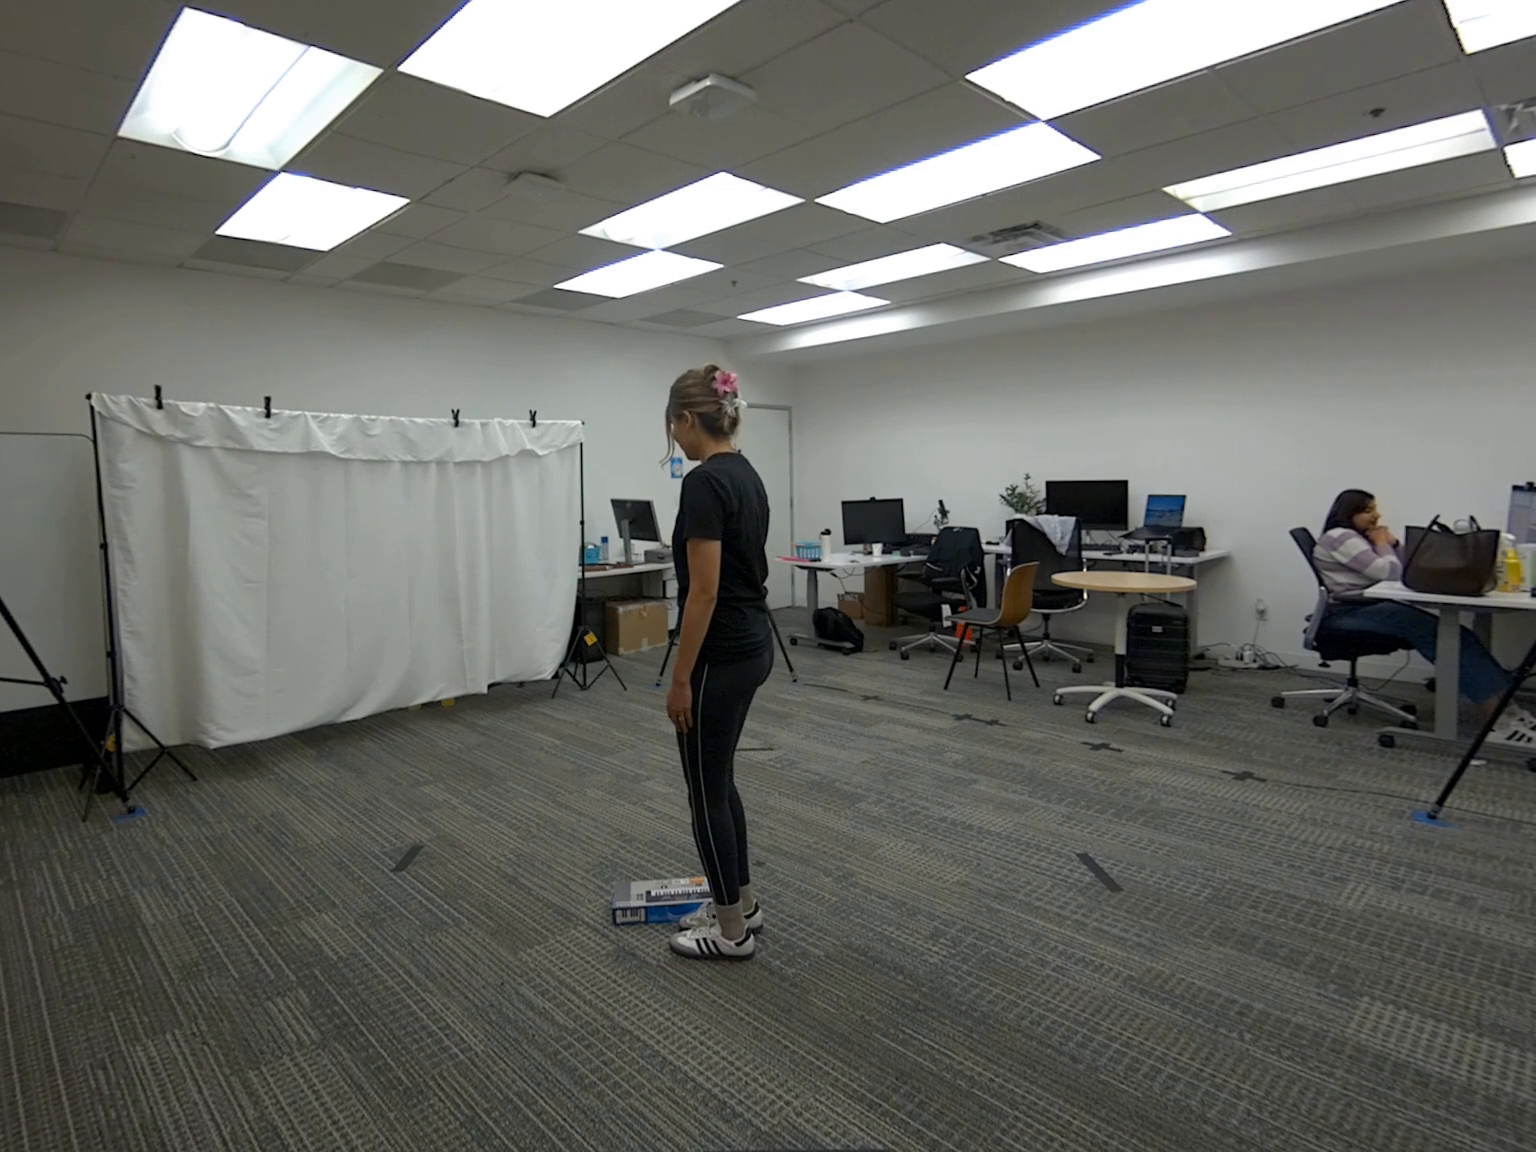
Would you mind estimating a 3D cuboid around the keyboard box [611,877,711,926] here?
[{"bbox_3d":[-0.287,1.056,2.805,0.434,0.059,0.178,-2,6,-6],"label":"keyboard box"}]
